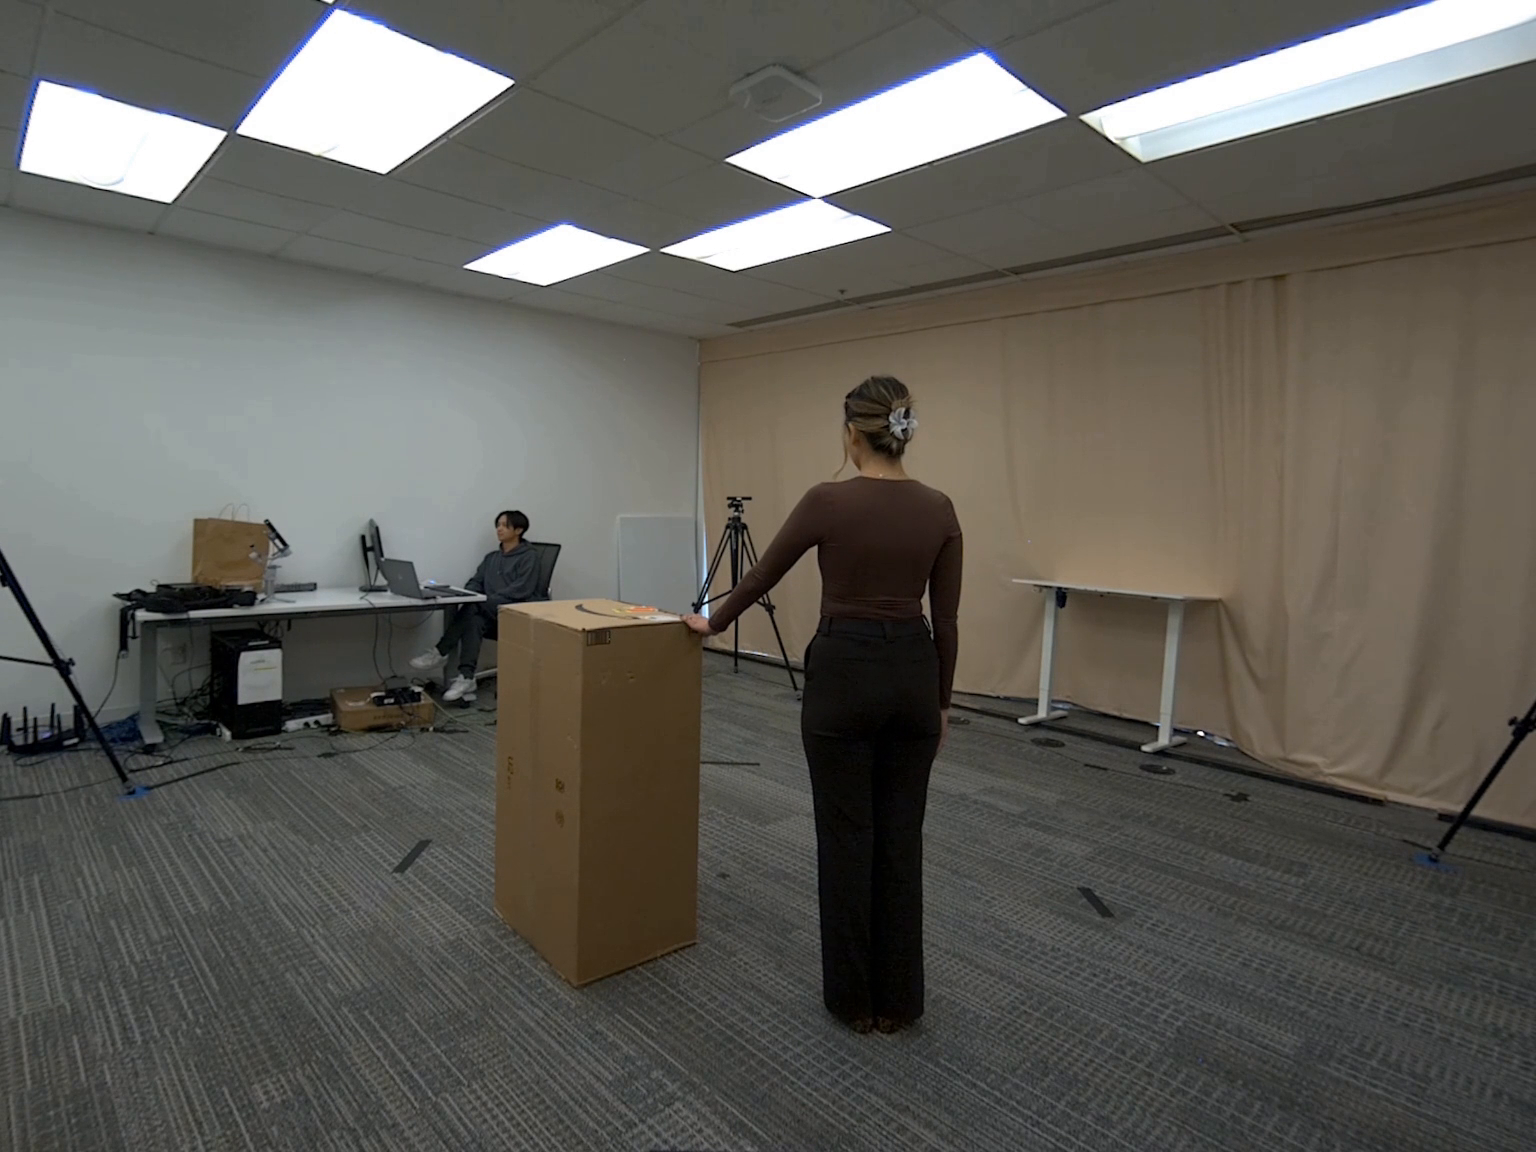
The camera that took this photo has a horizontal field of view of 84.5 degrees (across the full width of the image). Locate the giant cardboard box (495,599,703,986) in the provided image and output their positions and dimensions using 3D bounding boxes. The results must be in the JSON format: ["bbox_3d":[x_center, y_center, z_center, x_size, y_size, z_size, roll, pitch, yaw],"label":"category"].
[{"bbox_3d":[-0.560,0.625,2.696,0.436,1.025,0.598,0,3,-38],"label":"giant cardboard box"}]
